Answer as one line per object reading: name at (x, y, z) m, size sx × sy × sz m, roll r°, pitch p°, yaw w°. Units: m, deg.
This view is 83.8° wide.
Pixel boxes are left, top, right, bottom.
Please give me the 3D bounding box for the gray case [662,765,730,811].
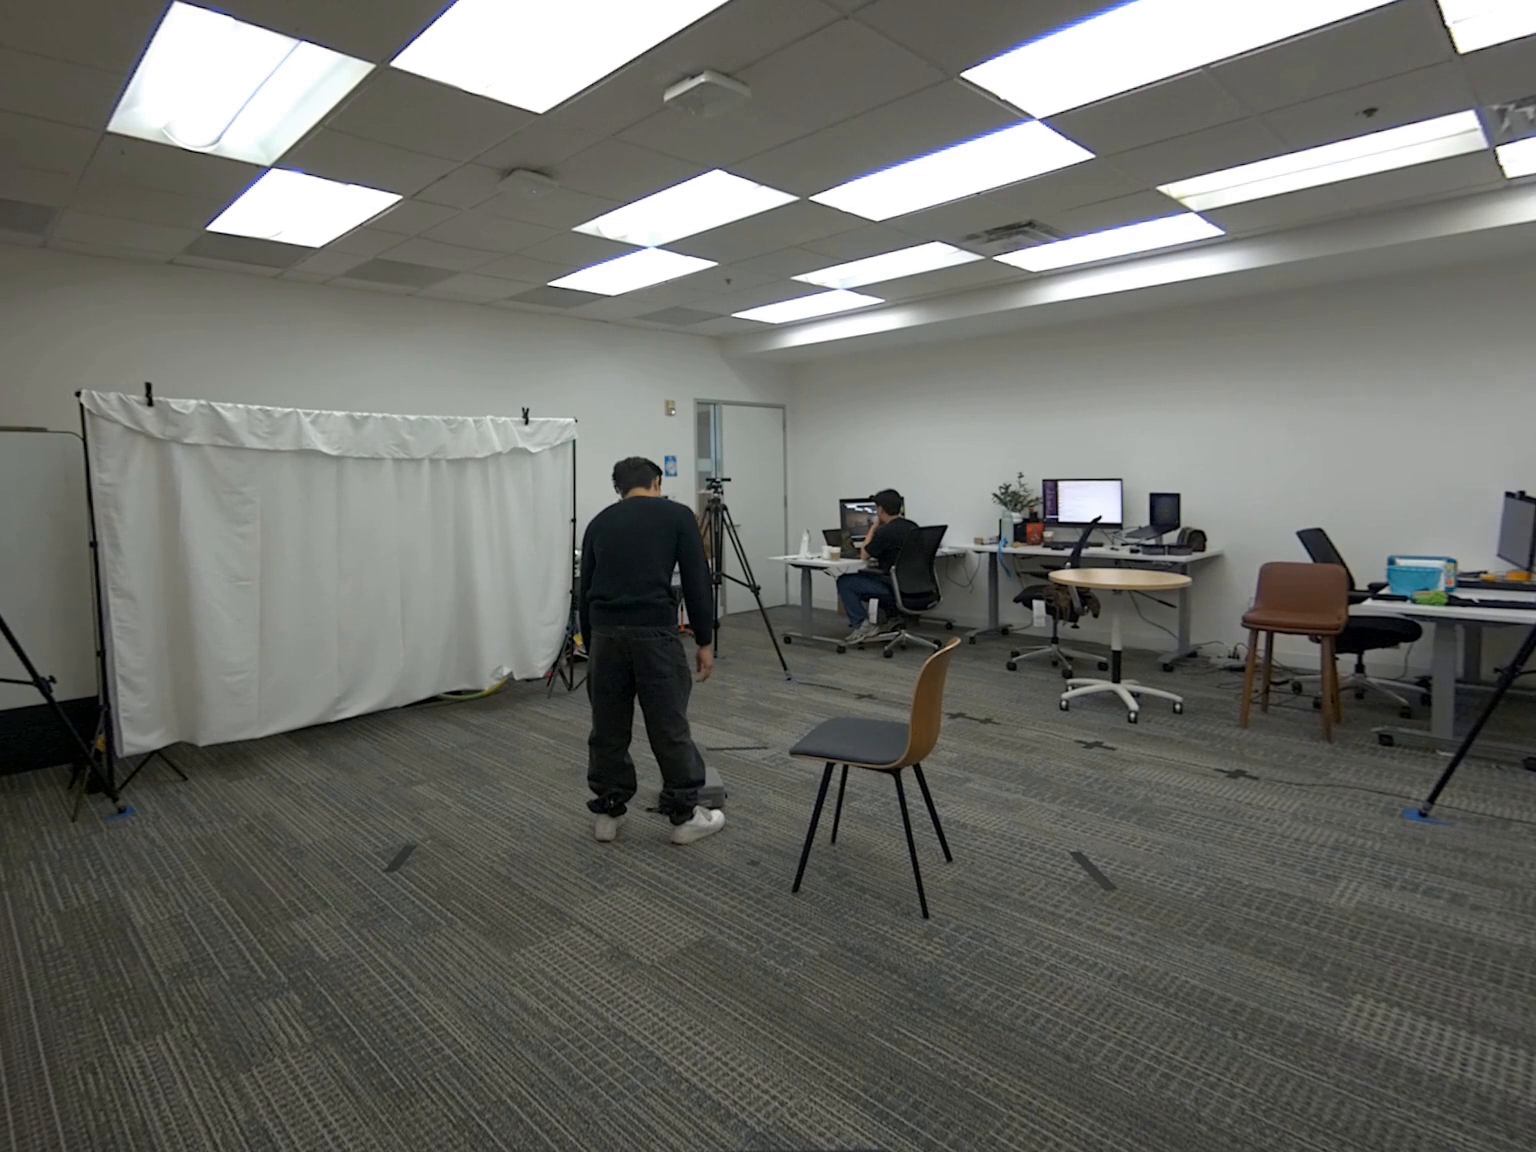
gray case at (-0.319, 0.924, 3.721) m, size 0.254 × 0.104 × 0.264 m, roll -2°, pitch 6°, yaw -12°
